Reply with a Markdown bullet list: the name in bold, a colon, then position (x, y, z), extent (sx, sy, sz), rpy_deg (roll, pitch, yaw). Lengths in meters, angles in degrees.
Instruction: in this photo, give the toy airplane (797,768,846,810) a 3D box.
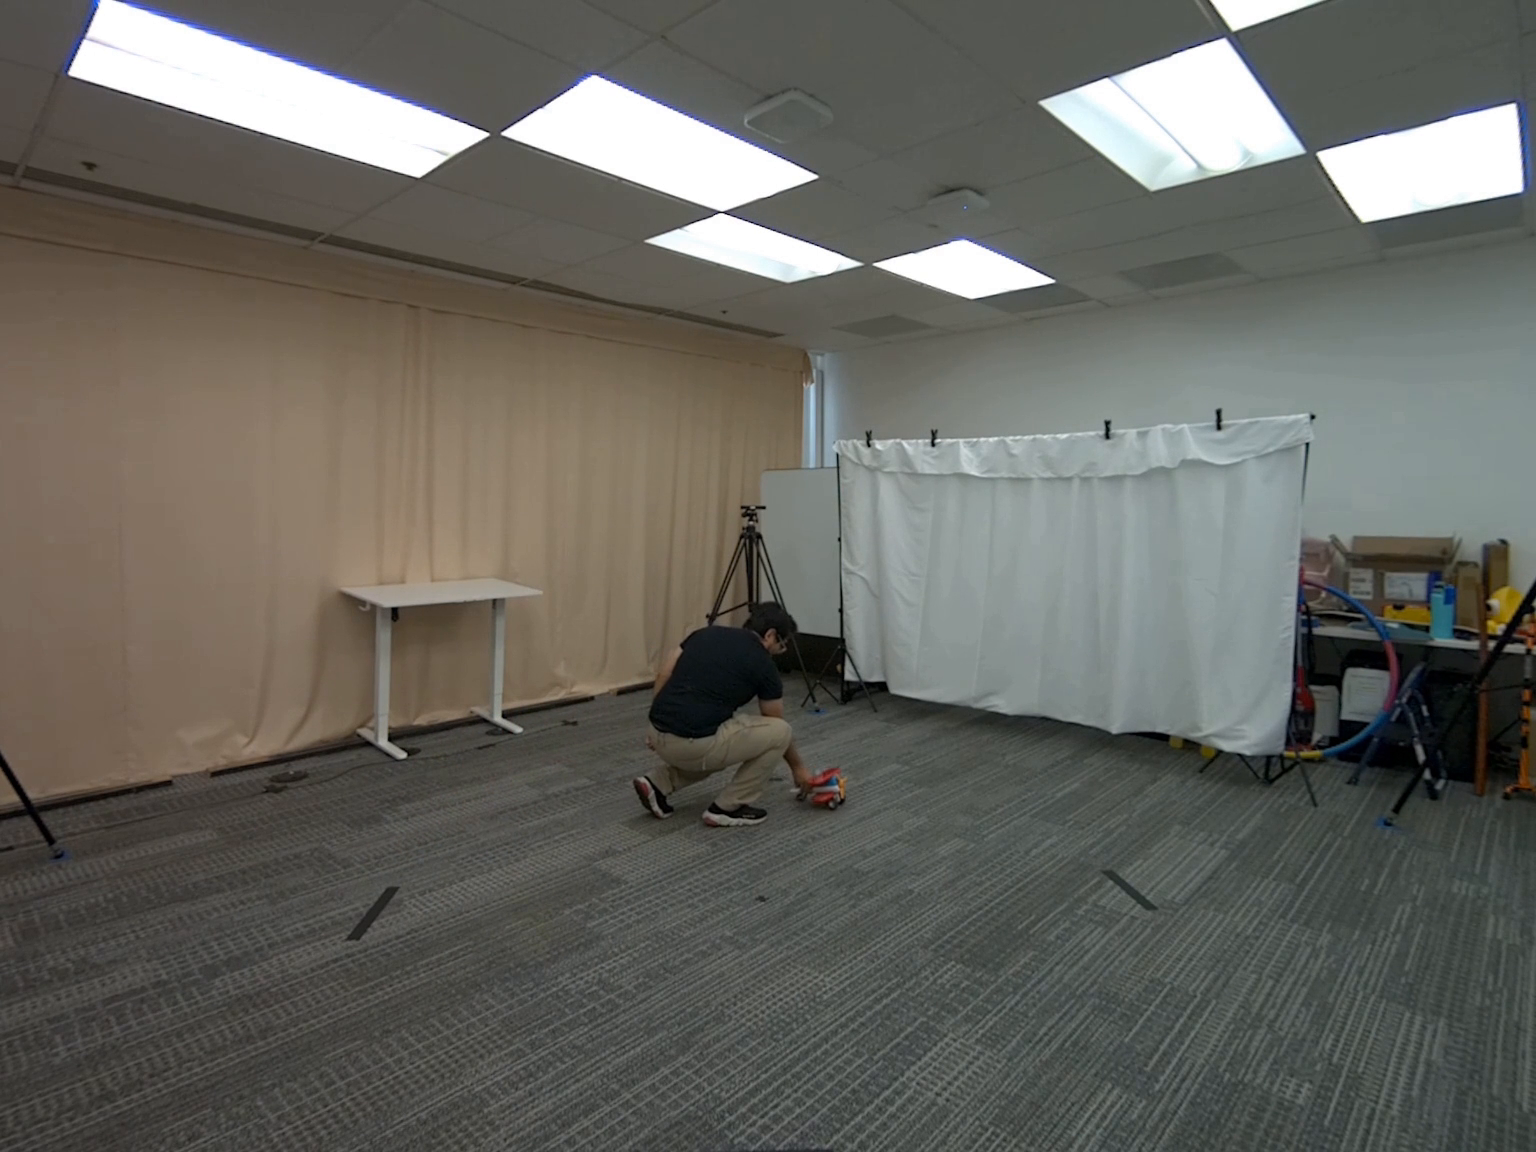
- **toy airplane**: position (0.227, 0.996, 3.922), extent (0.260, 0.156, 0.250), rpy_deg (2, 4, 3)
